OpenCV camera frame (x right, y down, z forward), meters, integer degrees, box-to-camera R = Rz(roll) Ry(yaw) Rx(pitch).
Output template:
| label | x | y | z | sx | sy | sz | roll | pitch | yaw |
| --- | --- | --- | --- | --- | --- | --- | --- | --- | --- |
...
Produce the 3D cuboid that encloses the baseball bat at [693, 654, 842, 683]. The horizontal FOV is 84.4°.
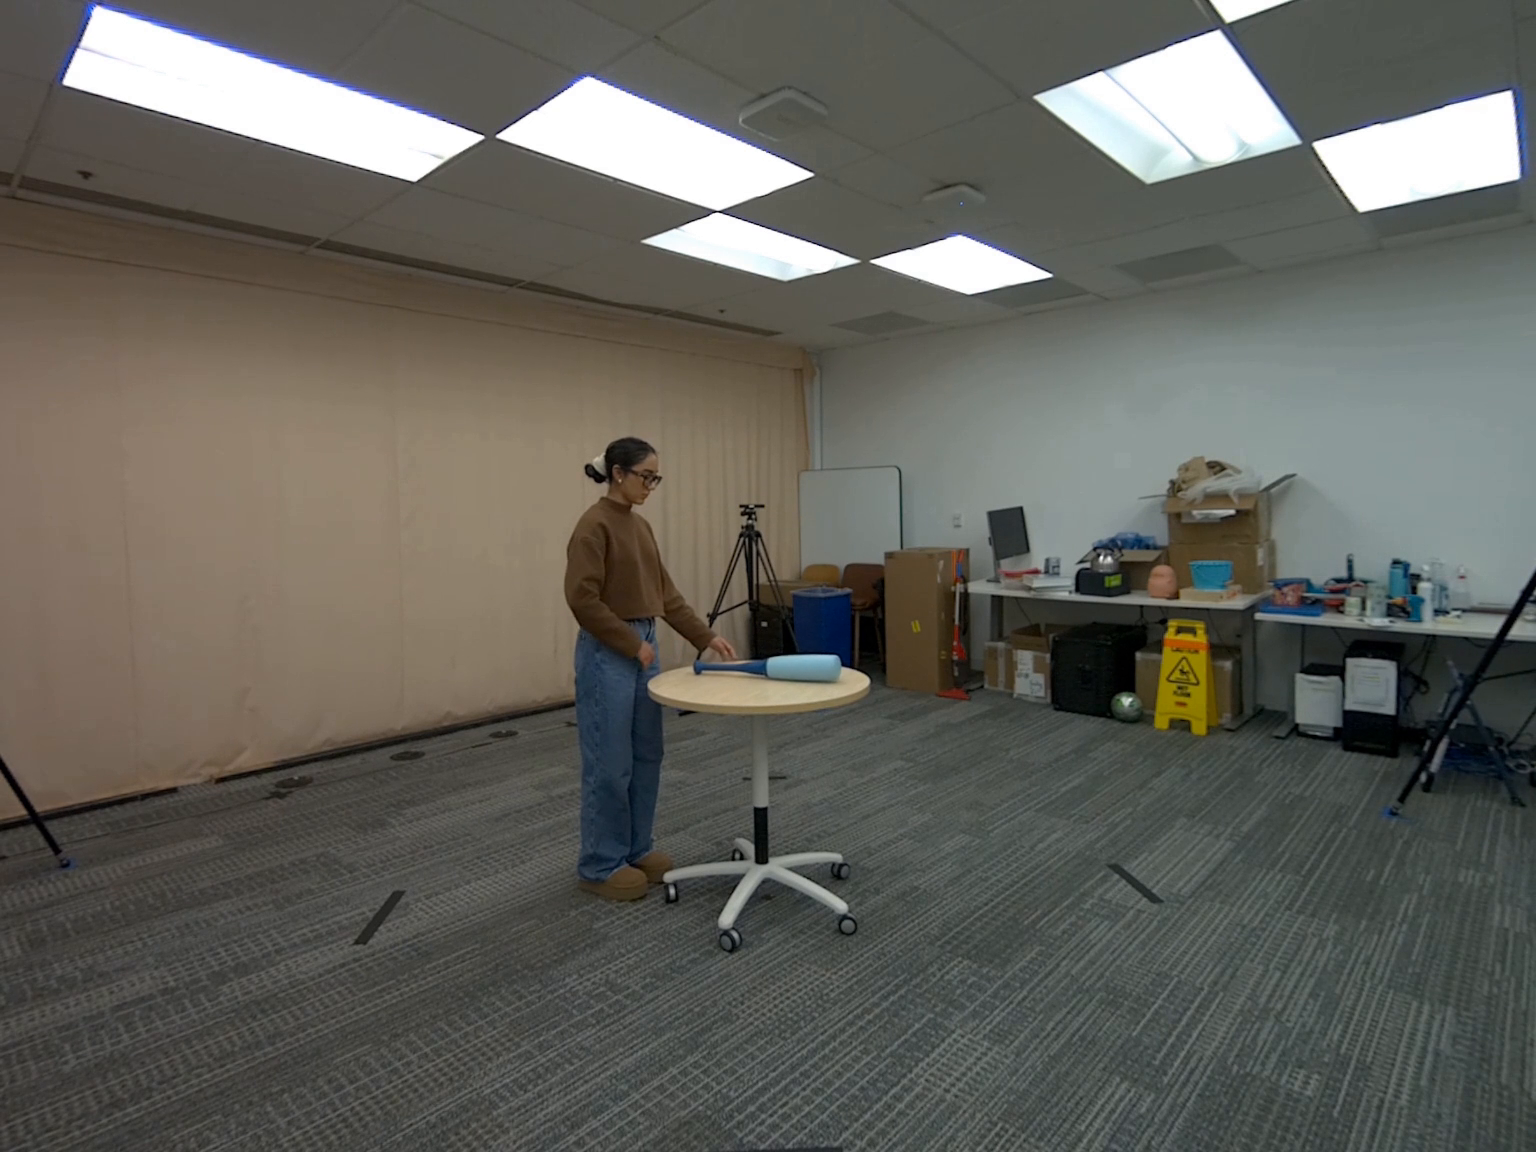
| label | x | y | z | sx | sy | sz | roll | pitch | yaw |
| --- | --- | --- | --- | --- | --- | --- | --- | --- | --- |
| baseball bat | -0.009 | 0.325 | 2.945 | 0.555 | 0.089 | 0.087 | -3 | 3 | 22 |
